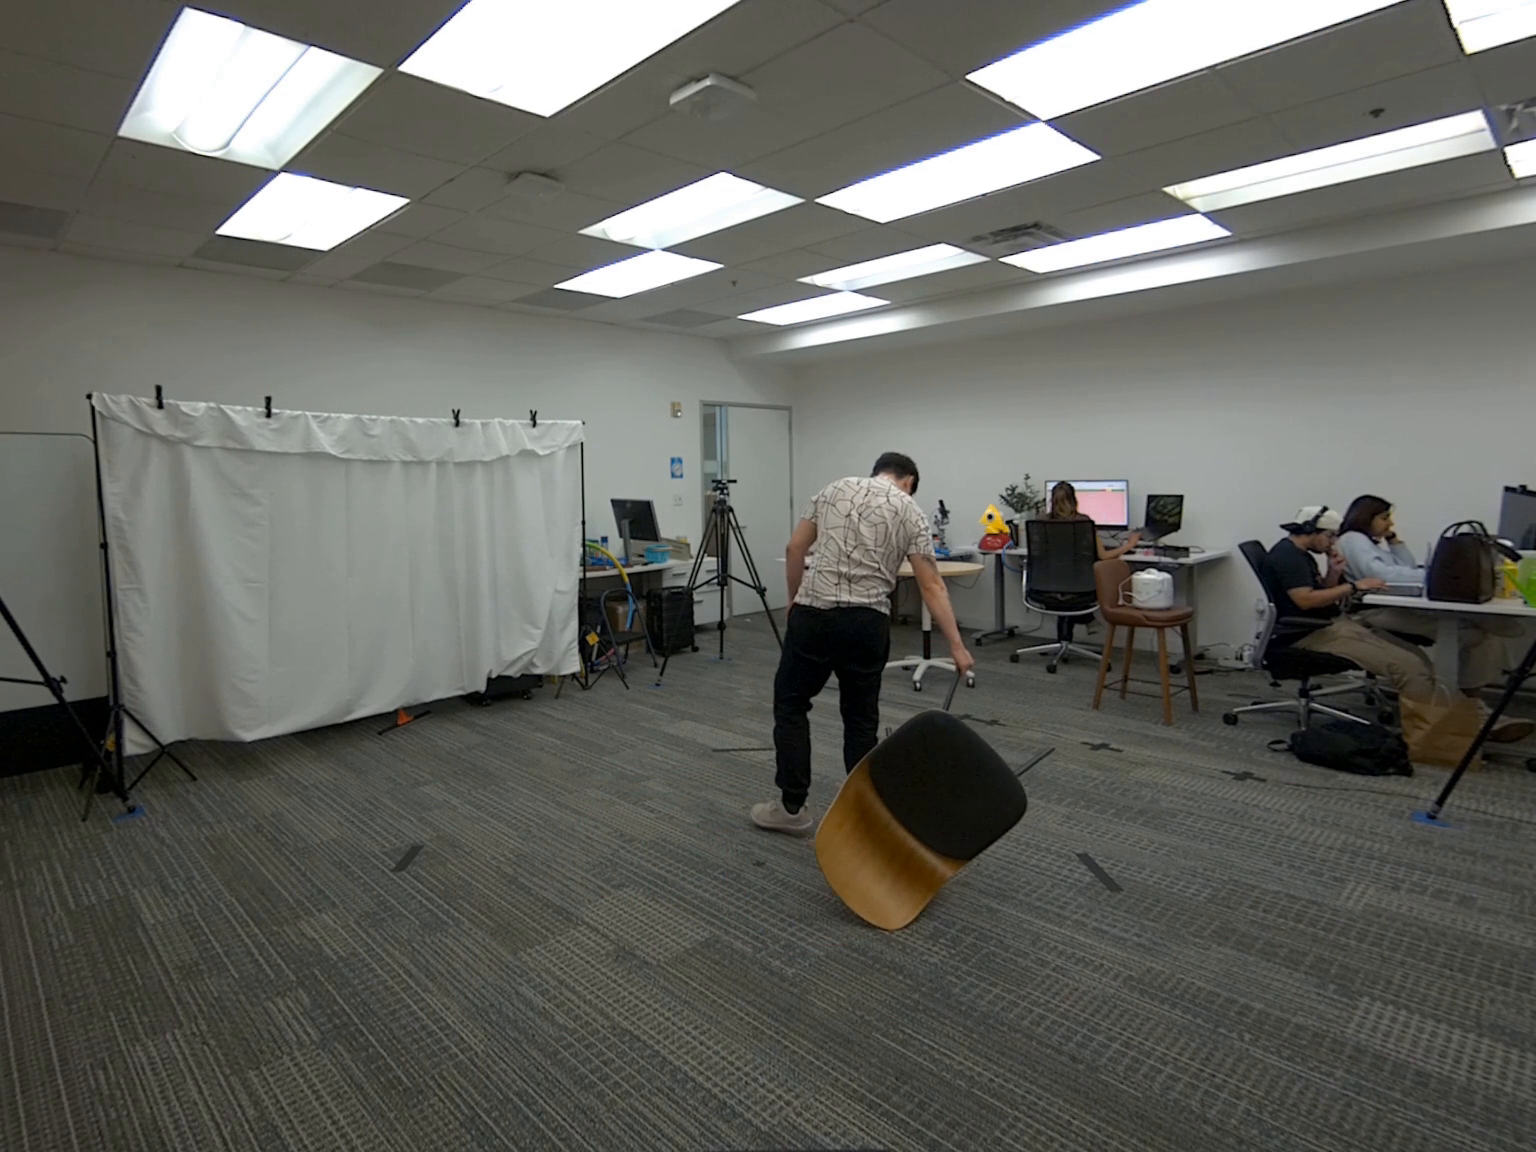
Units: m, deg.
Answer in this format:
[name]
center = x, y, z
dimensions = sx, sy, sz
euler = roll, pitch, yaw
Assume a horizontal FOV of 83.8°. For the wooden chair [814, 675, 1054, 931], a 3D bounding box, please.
[wooden chair]
center = 0.571, 0.720, 2.890
dimensions = 0.522, 0.486, 0.866
euler = -50, -12, 34
